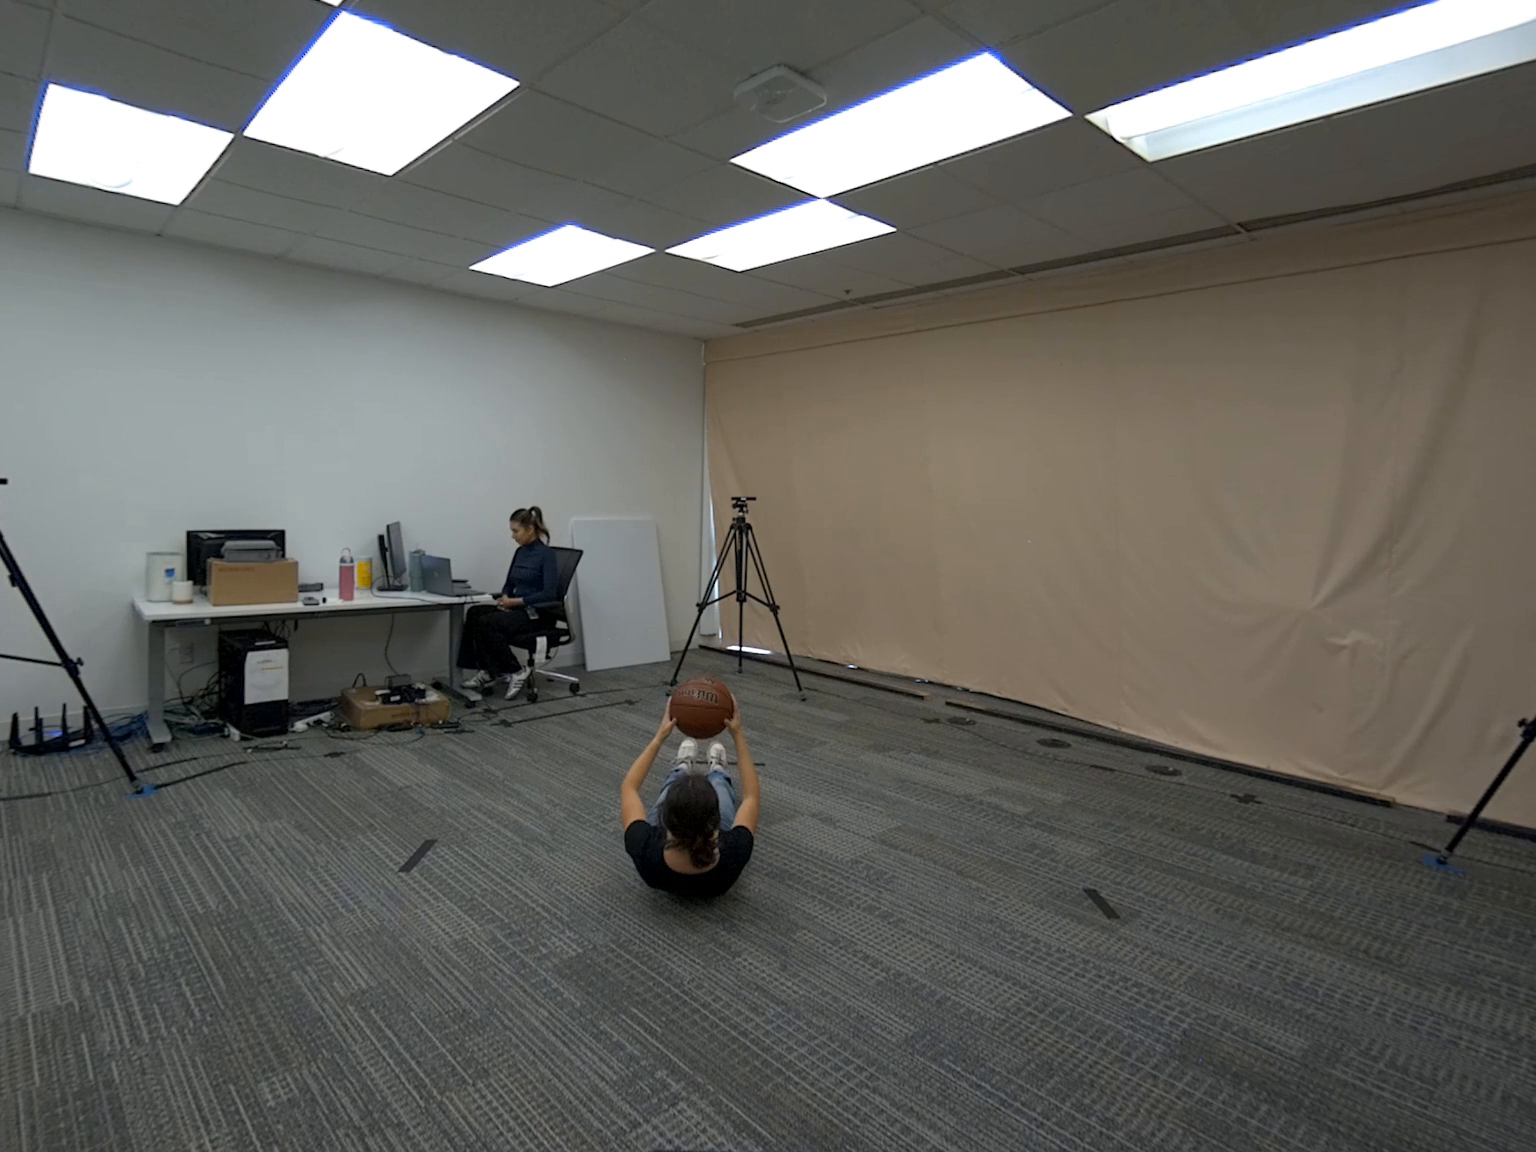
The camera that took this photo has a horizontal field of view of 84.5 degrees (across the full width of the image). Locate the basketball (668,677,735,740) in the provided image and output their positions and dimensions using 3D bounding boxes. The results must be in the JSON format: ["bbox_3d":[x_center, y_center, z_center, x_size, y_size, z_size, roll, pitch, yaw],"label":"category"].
[{"bbox_3d":[-0.254,0.488,3.169,0.236,0.235,0.237,1,4,-1],"label":"basketball"}]
